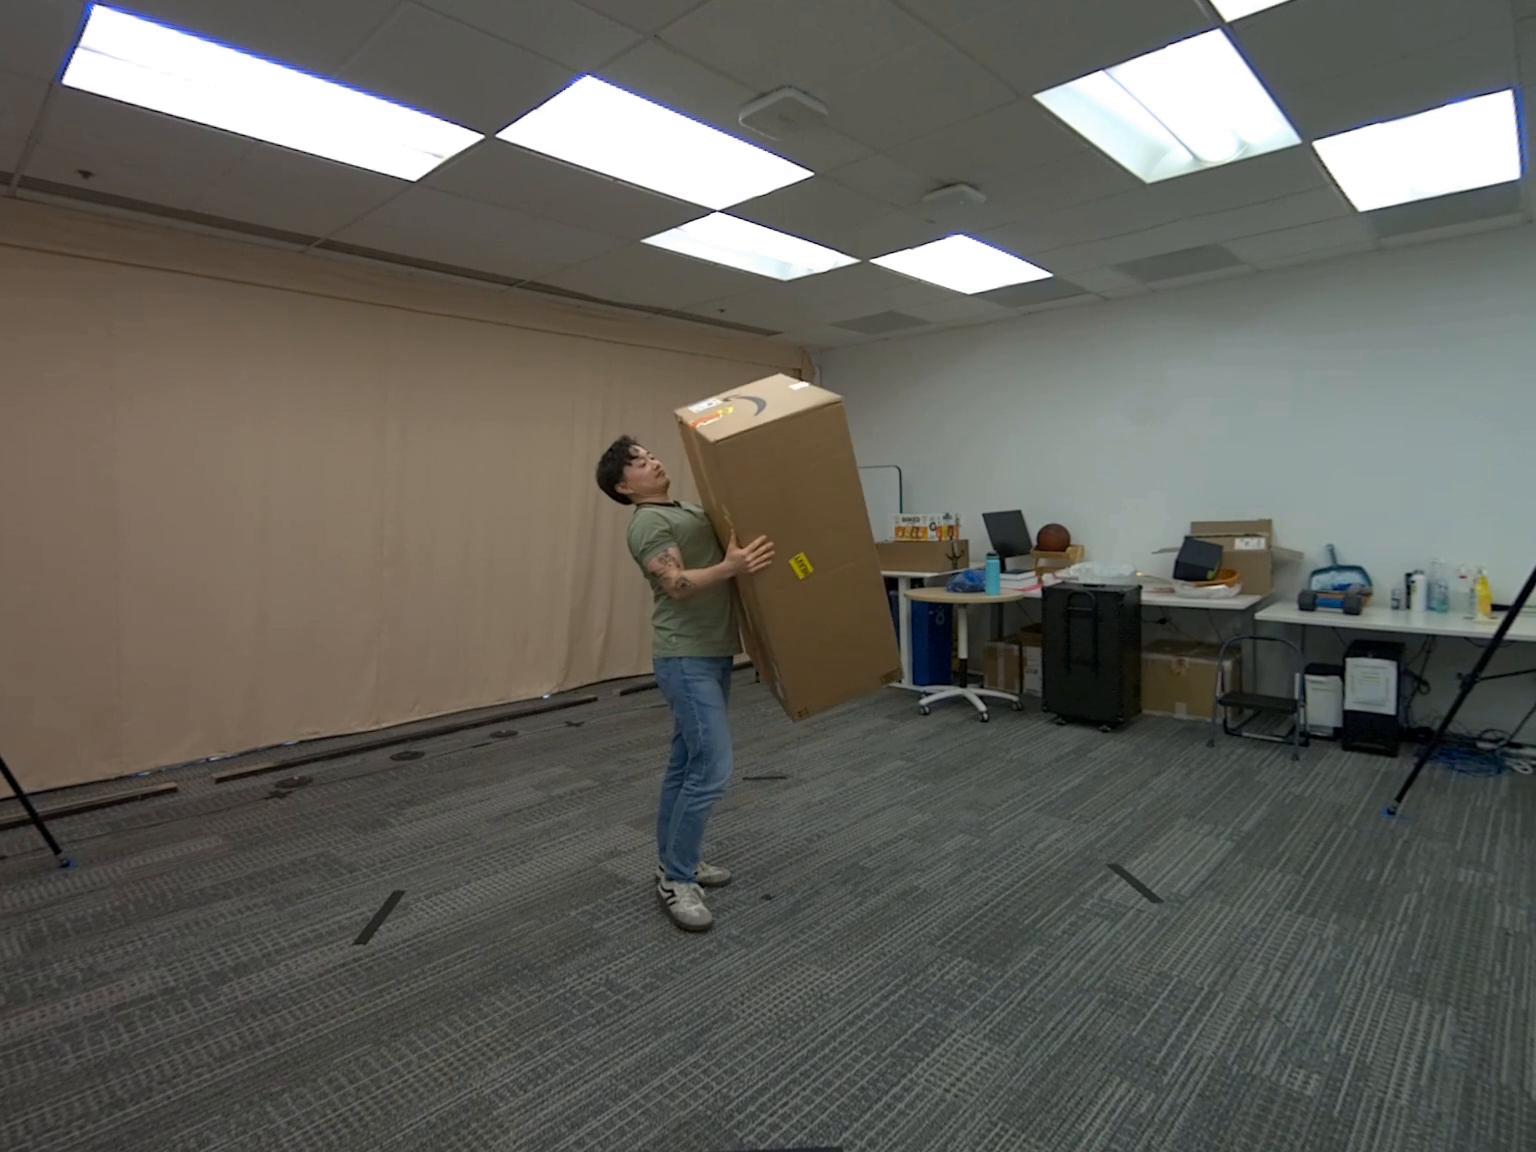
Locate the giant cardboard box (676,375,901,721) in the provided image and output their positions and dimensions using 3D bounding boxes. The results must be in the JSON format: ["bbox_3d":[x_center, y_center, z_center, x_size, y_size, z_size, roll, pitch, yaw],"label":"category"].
[{"bbox_3d":[0.069,-0.112,2.934,0.423,1.006,0.593,-20,23,-10],"label":"giant cardboard box"}]
